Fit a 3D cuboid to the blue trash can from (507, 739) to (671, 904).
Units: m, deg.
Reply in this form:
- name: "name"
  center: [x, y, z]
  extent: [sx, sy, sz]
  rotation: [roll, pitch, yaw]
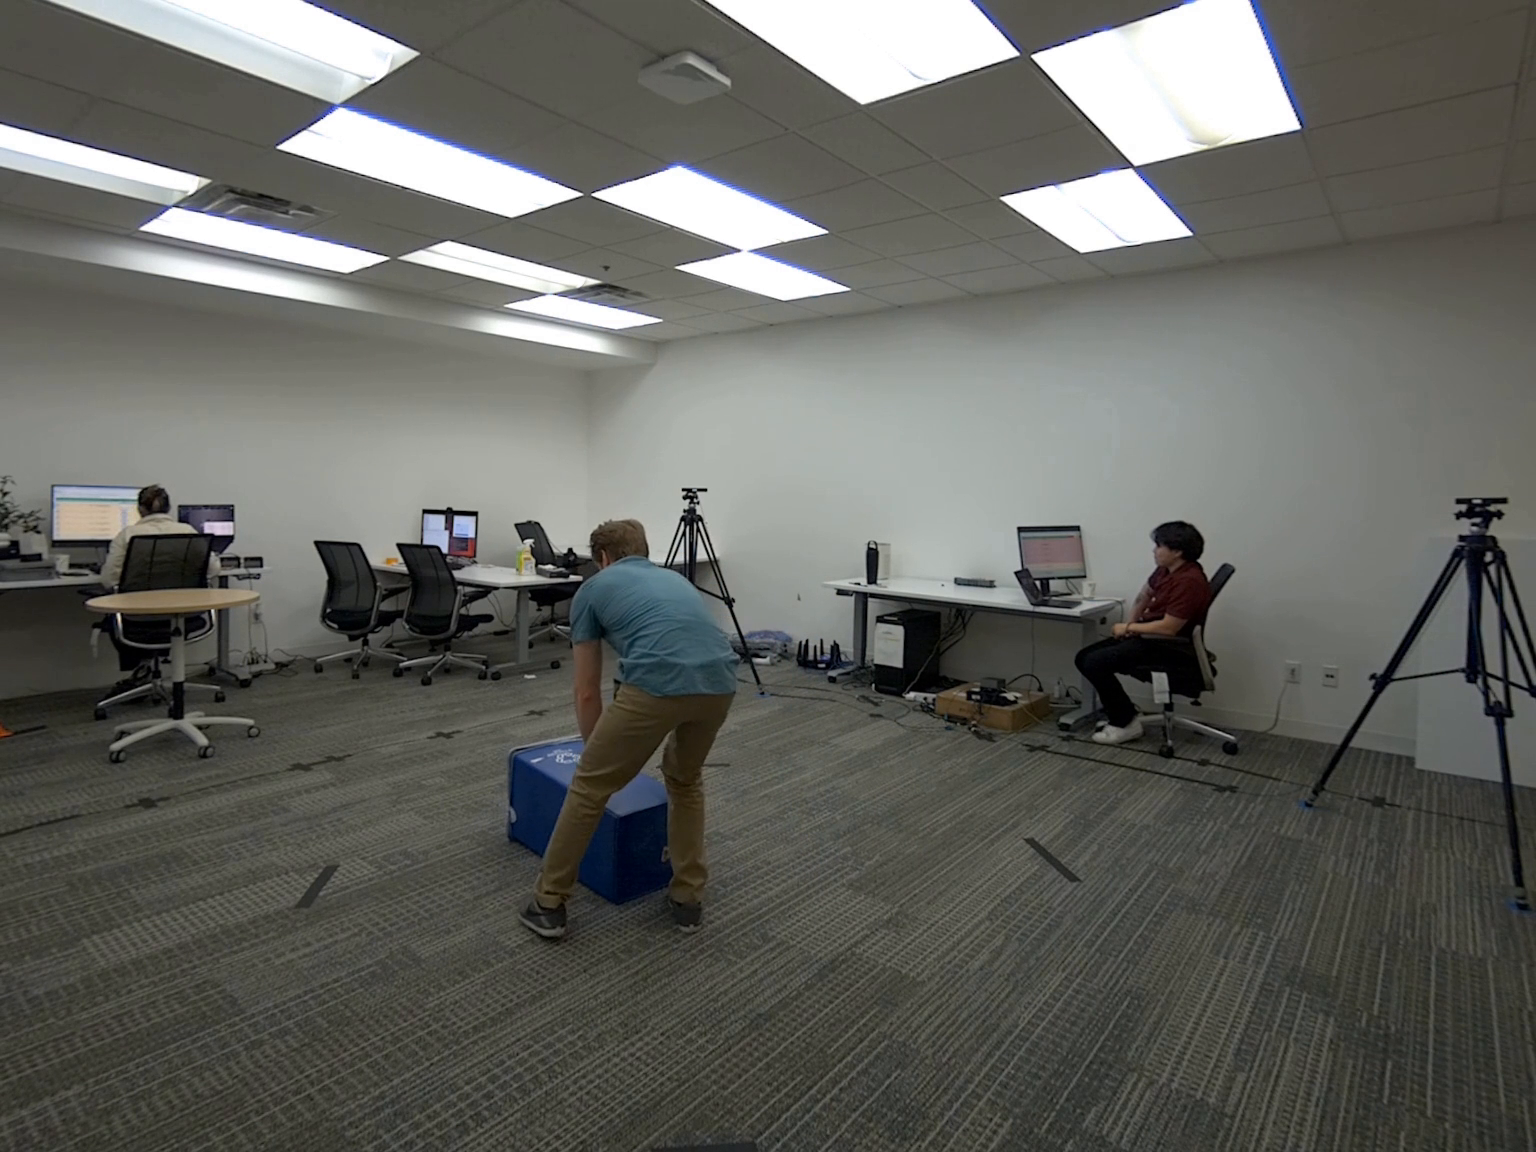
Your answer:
- name: "blue trash can"
  center: [-0.651, 0.891, 3.172]
  extent: [0.363, 0.376, 0.739]
  rotation: [-3, 9, -44]
